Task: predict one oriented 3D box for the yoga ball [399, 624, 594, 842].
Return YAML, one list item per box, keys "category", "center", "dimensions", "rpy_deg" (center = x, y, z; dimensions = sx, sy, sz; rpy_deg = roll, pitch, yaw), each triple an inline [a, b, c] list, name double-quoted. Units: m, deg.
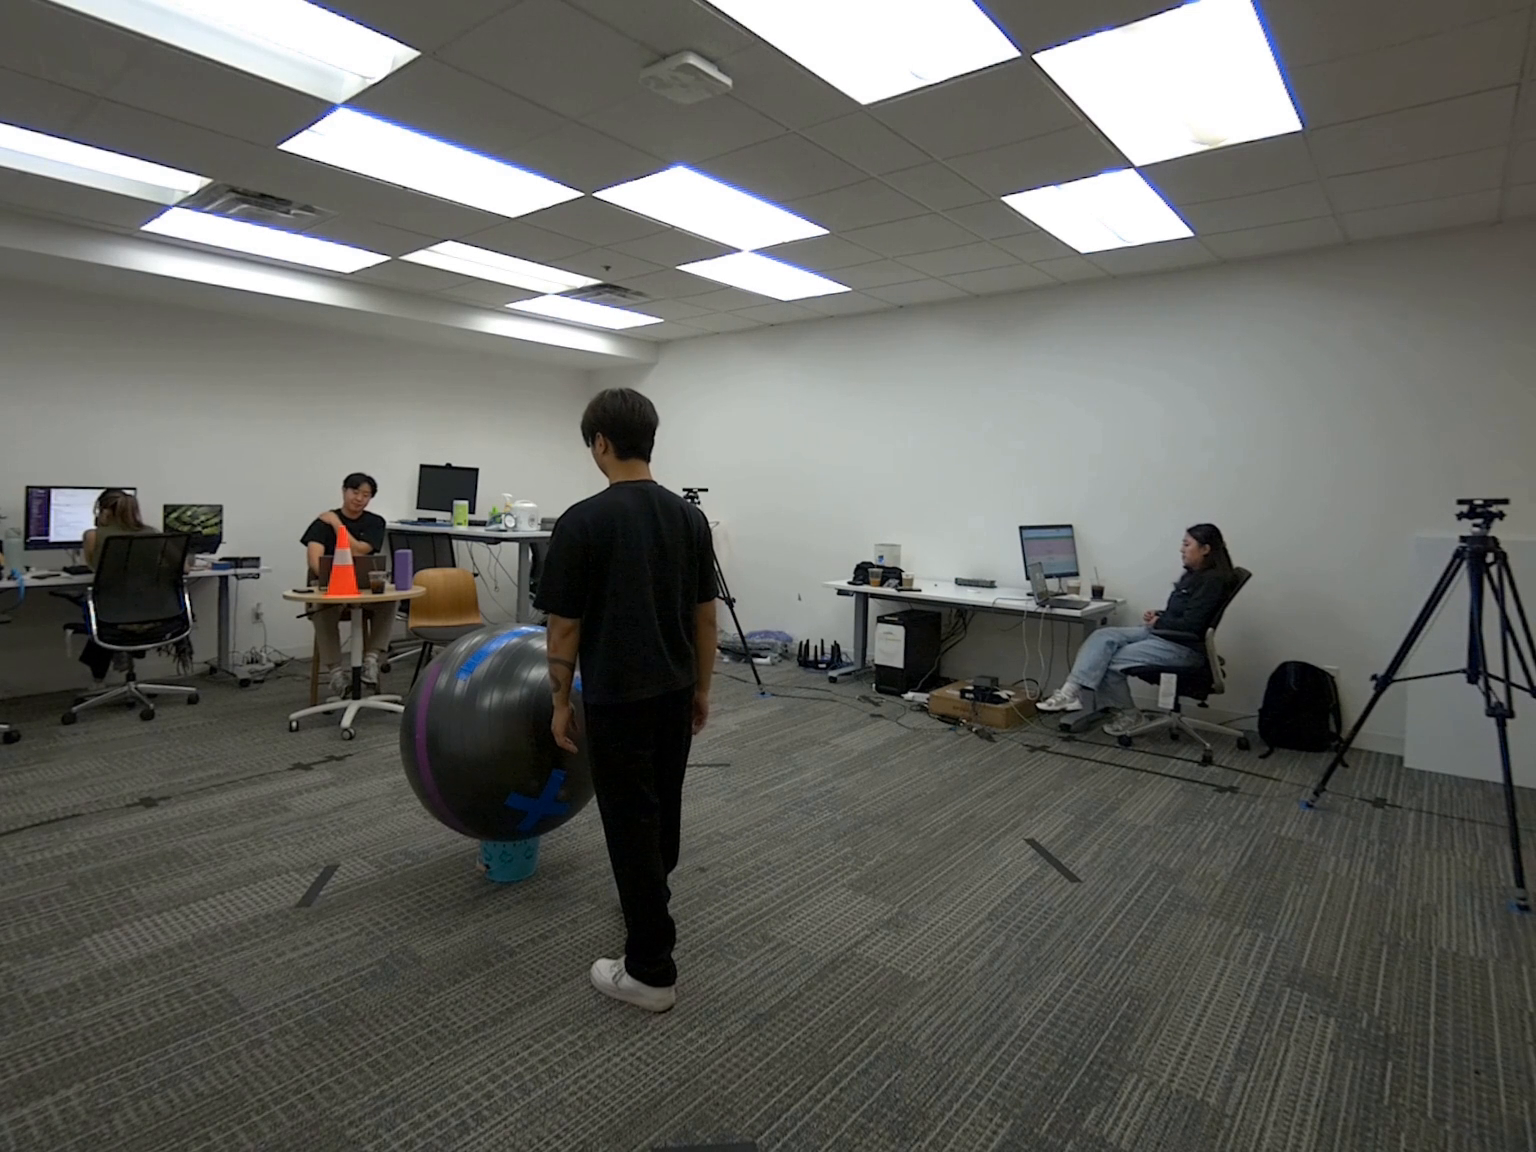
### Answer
- category: "yoga ball"
  center: [-0.929, 0.549, 3.056]
  dimensions: [0.757, 0.756, 0.762]
  rpy_deg: [1, 4, -2]
